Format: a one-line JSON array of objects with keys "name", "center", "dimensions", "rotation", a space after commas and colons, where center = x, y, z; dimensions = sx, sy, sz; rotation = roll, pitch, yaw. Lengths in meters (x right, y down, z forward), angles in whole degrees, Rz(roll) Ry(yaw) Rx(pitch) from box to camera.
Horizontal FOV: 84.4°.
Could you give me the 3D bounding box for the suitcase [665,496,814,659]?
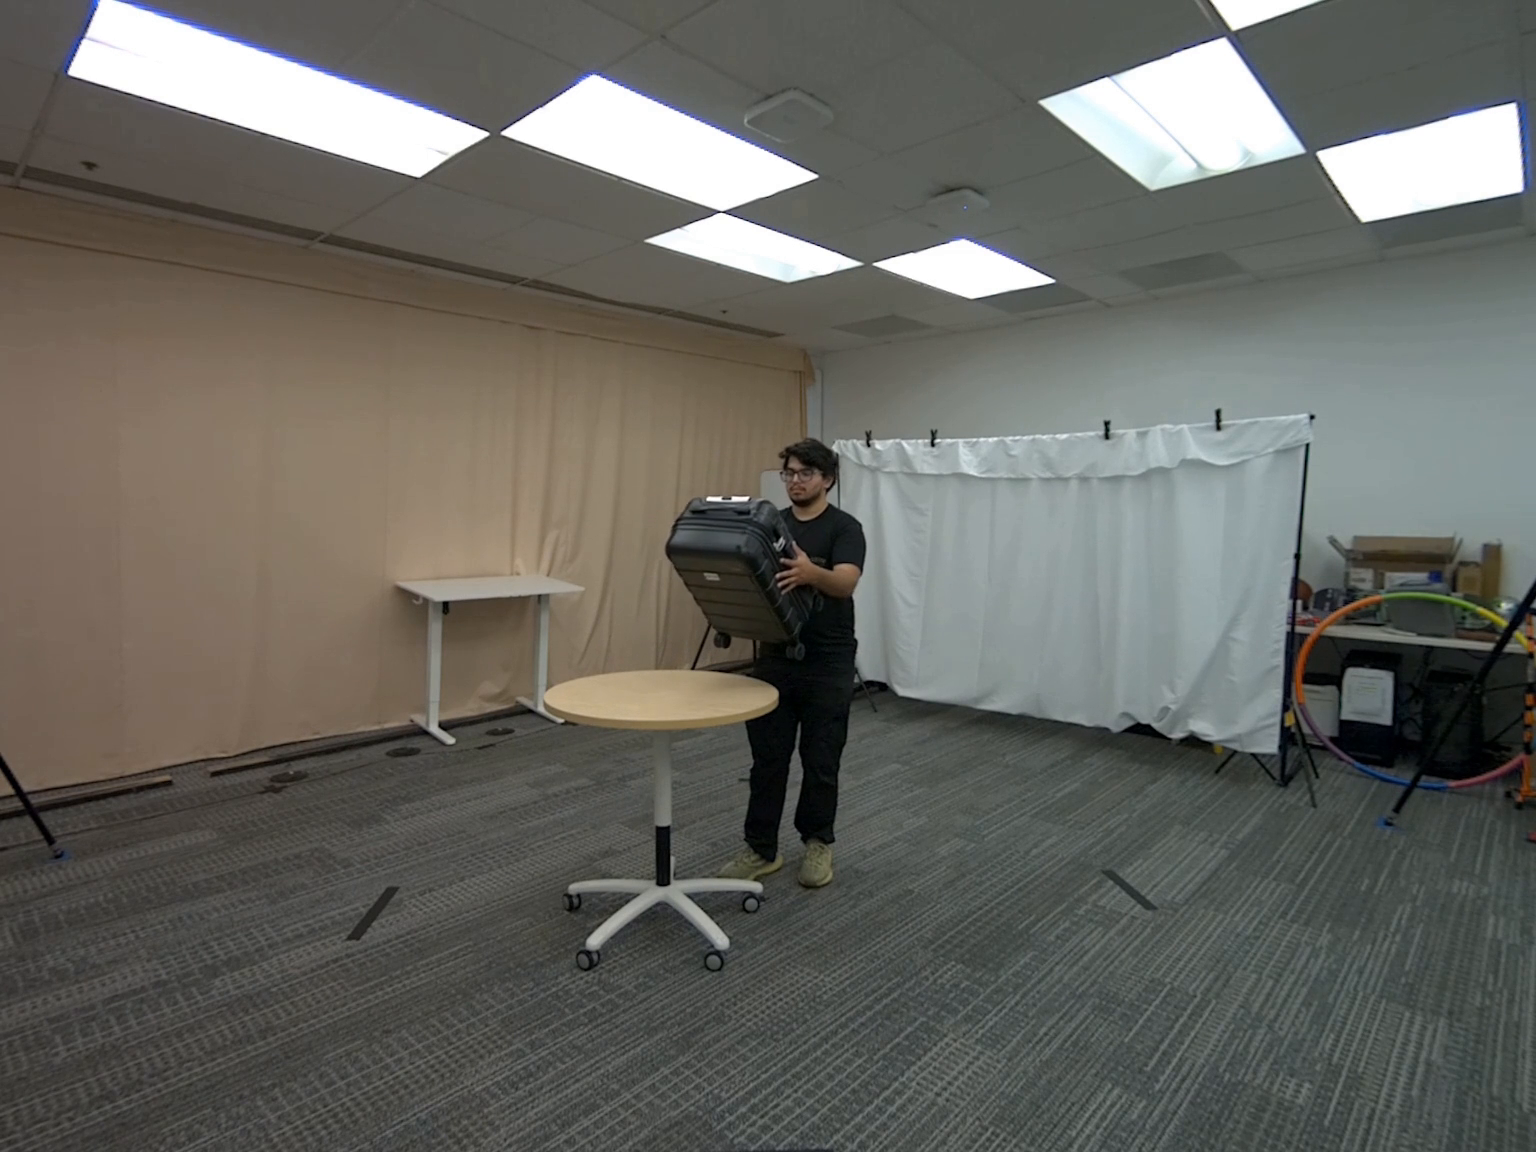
[{"name": "suitcase", "center": [-0.077, -0.009, 2.780], "dimensions": [0.387, 0.249, 0.532], "rotation": [5, -37, 31]}]
